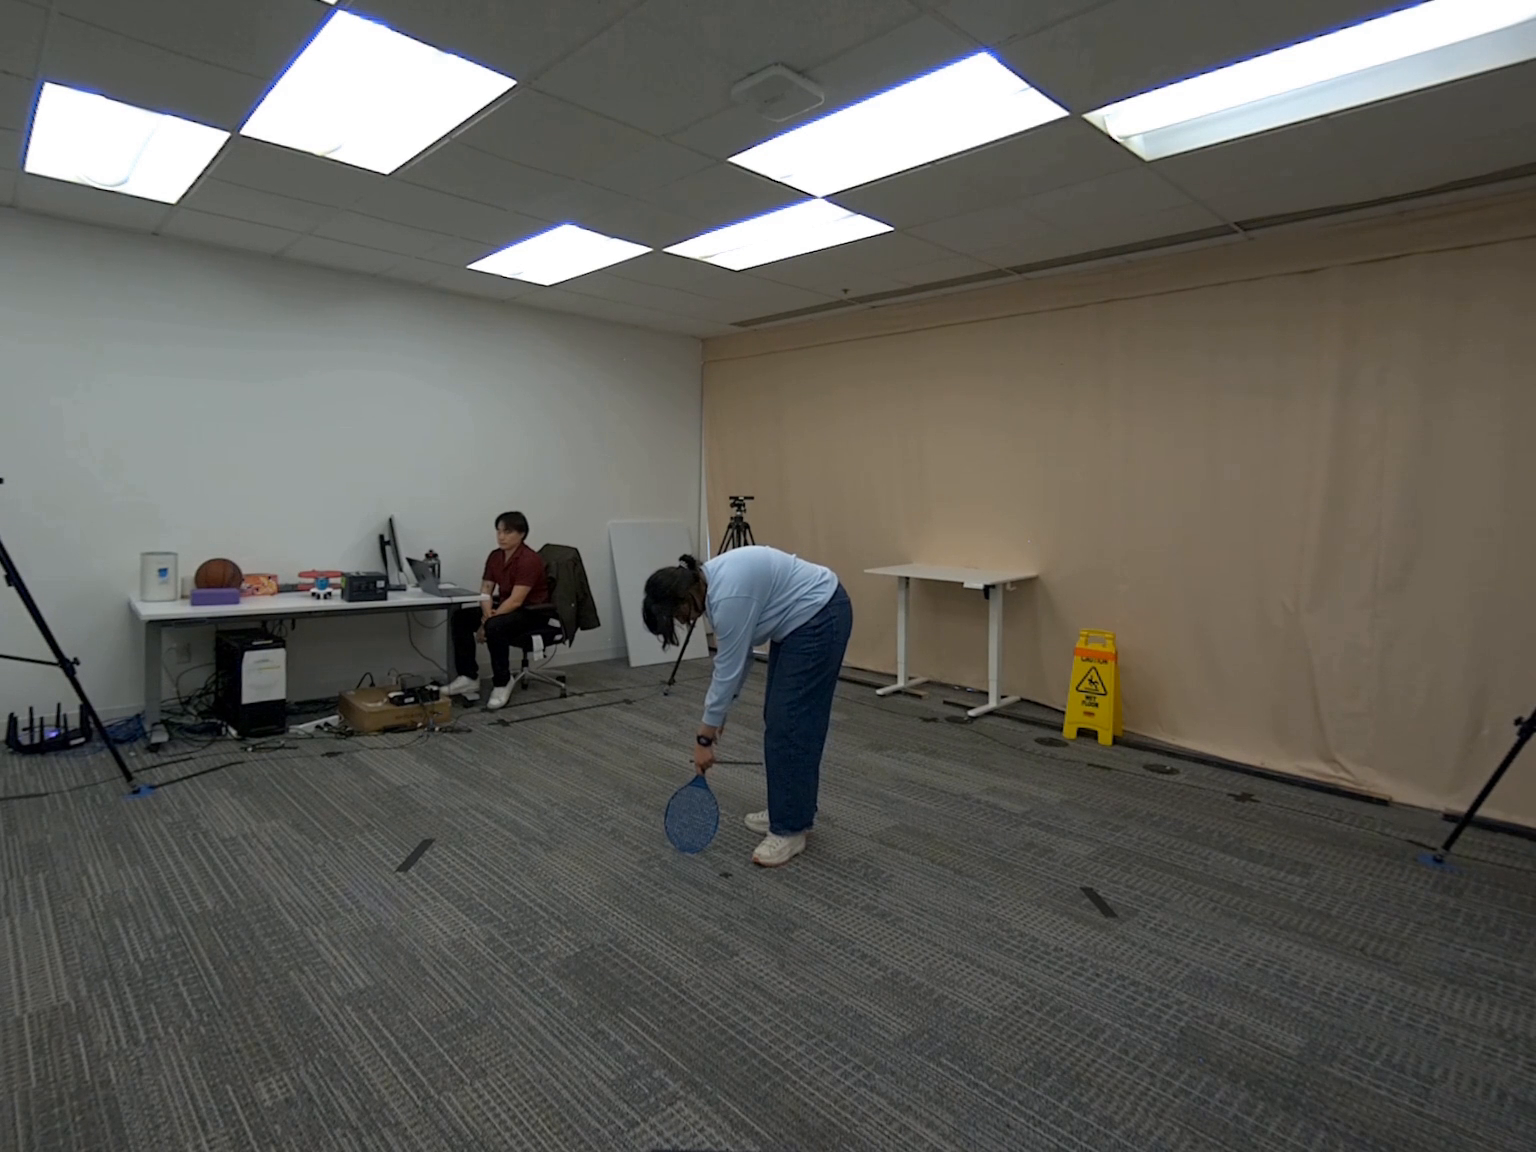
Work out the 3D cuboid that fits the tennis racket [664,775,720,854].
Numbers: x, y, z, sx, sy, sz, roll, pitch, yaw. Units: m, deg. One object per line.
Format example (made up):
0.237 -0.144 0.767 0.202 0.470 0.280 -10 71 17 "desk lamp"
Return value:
-0.279 0.876 3.299 0.214 0.433 0.031 12 1 4 "tennis racket"
